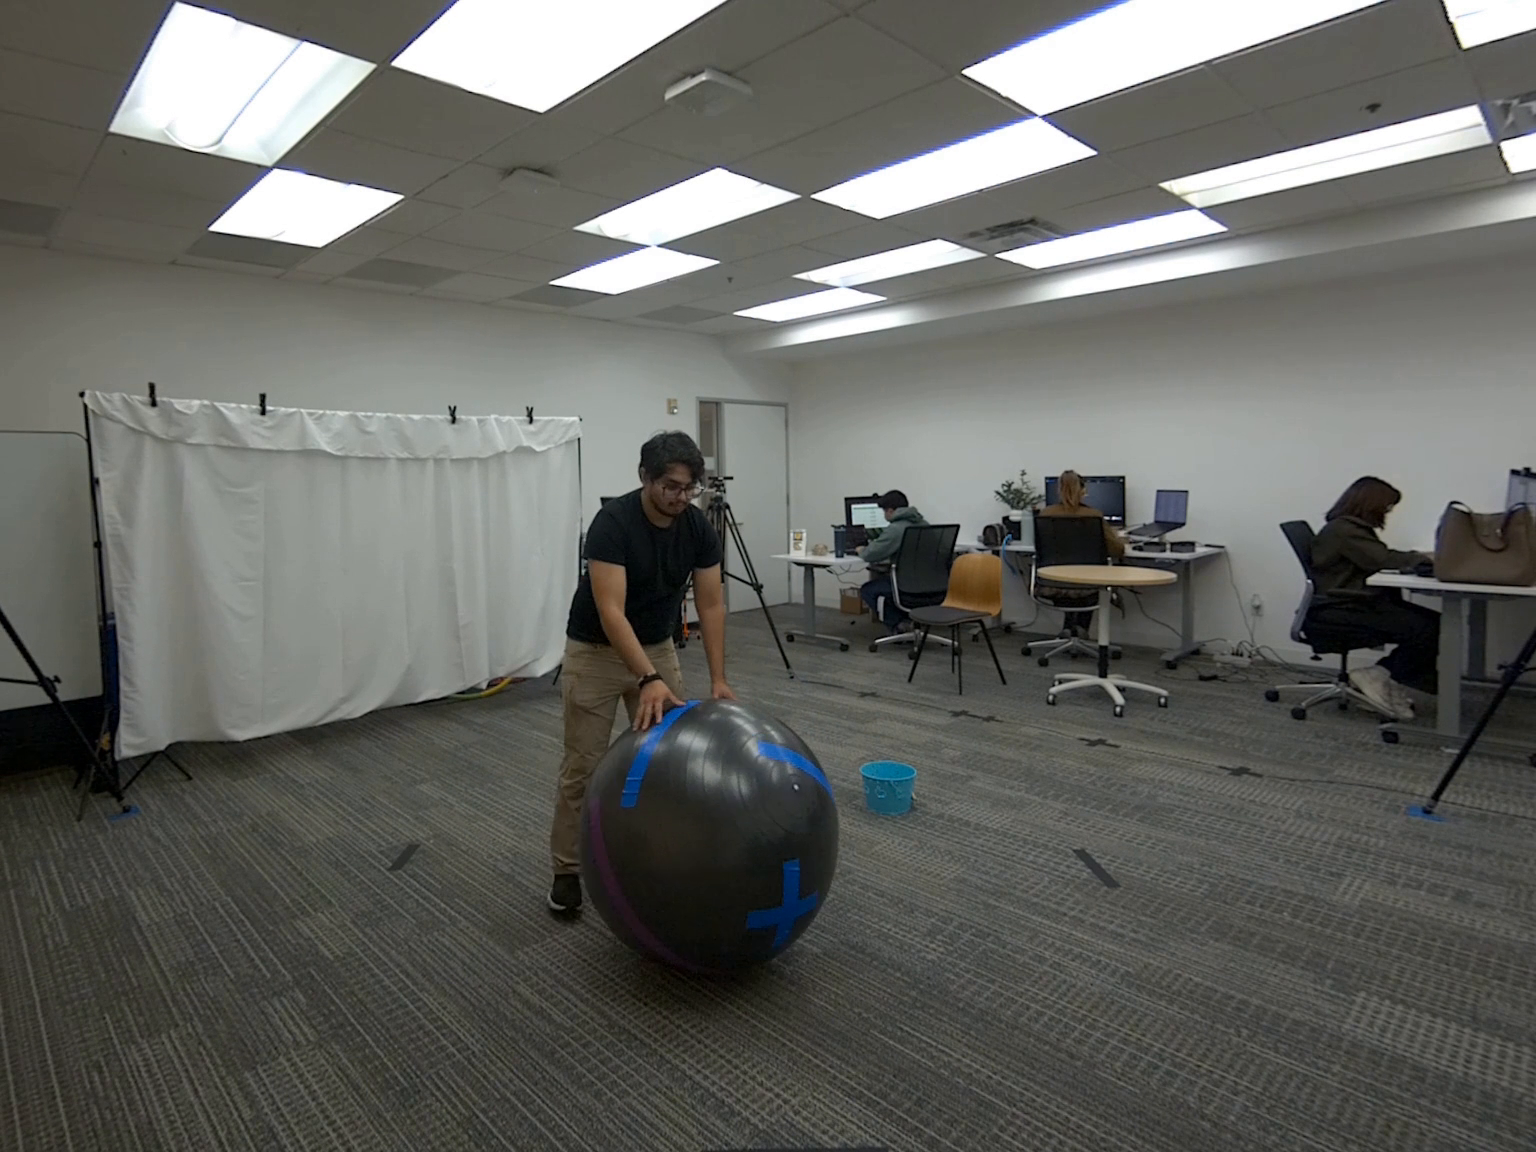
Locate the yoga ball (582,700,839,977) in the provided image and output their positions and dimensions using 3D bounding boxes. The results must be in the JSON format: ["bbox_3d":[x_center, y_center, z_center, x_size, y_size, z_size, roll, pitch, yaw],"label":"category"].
[{"bbox_3d":[-0.168,0.744,2.484,0.757,0.755,0.762,-1,5,-2],"label":"yoga ball"}]
